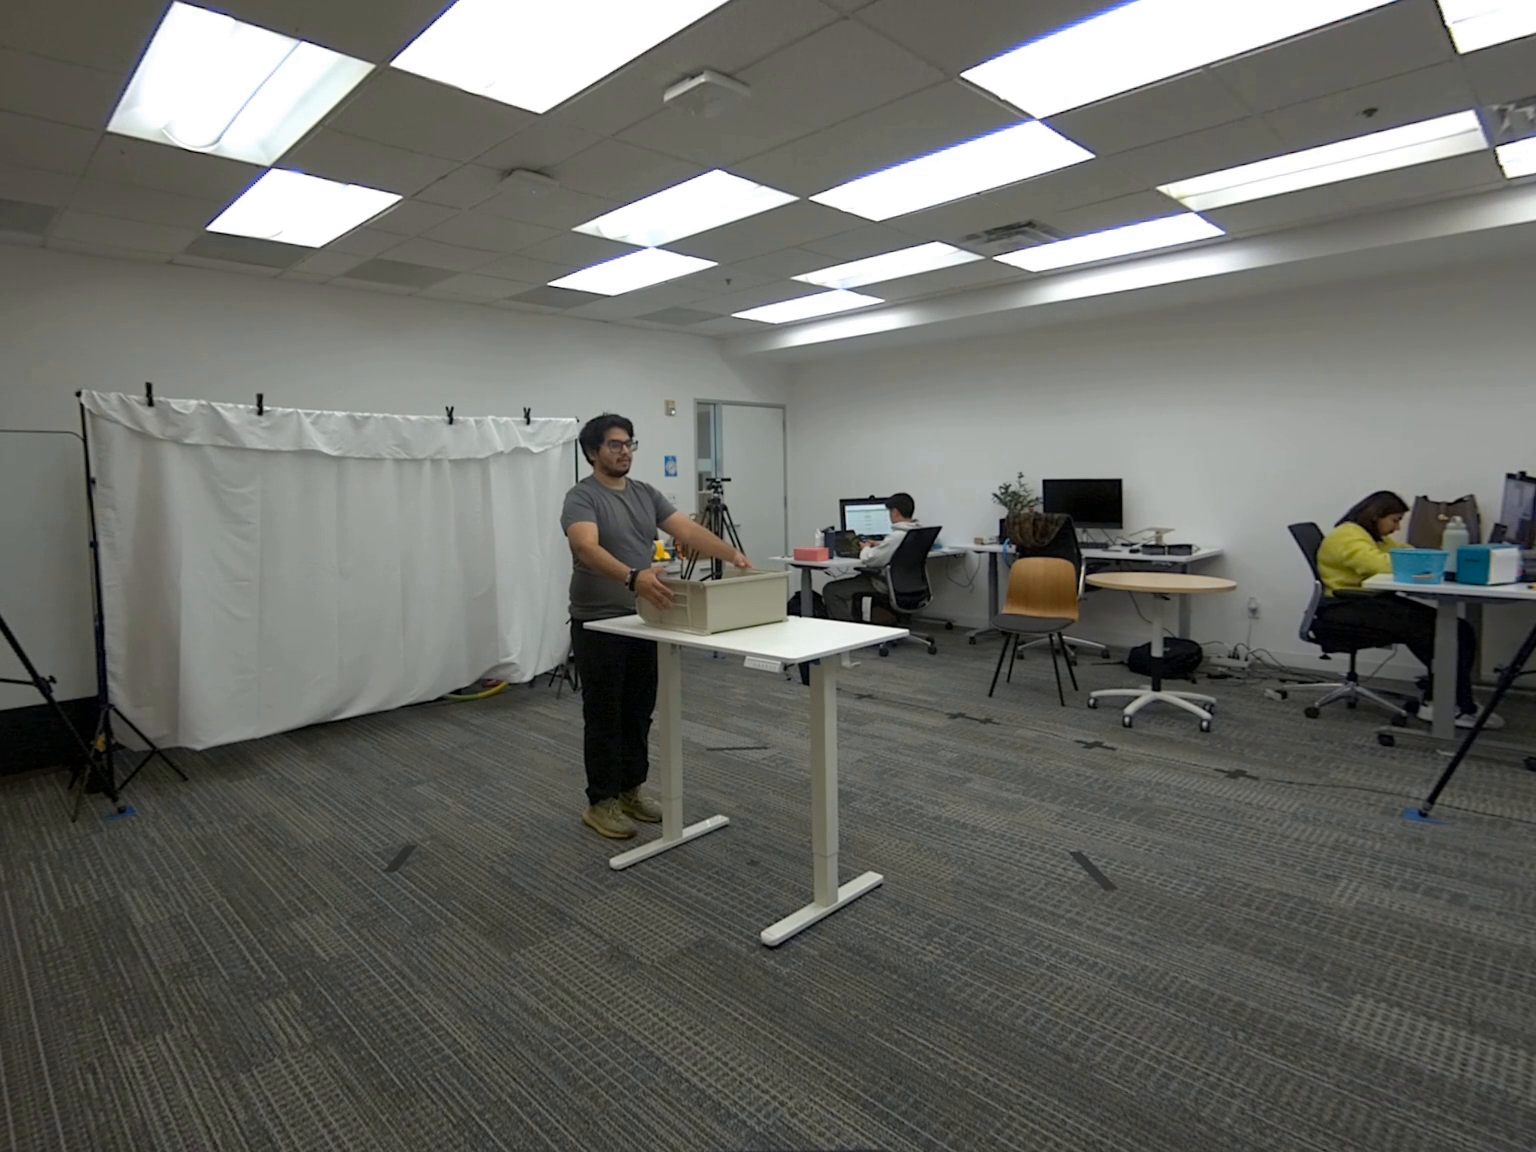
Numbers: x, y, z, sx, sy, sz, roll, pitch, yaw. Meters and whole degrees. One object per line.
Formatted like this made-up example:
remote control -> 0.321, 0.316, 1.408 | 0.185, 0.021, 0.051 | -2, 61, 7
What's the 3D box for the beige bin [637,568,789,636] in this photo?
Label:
beige bin -> -0.196, 0.082, 3.045 | 0.411, 0.188, 0.389 | -5, 9, -44
